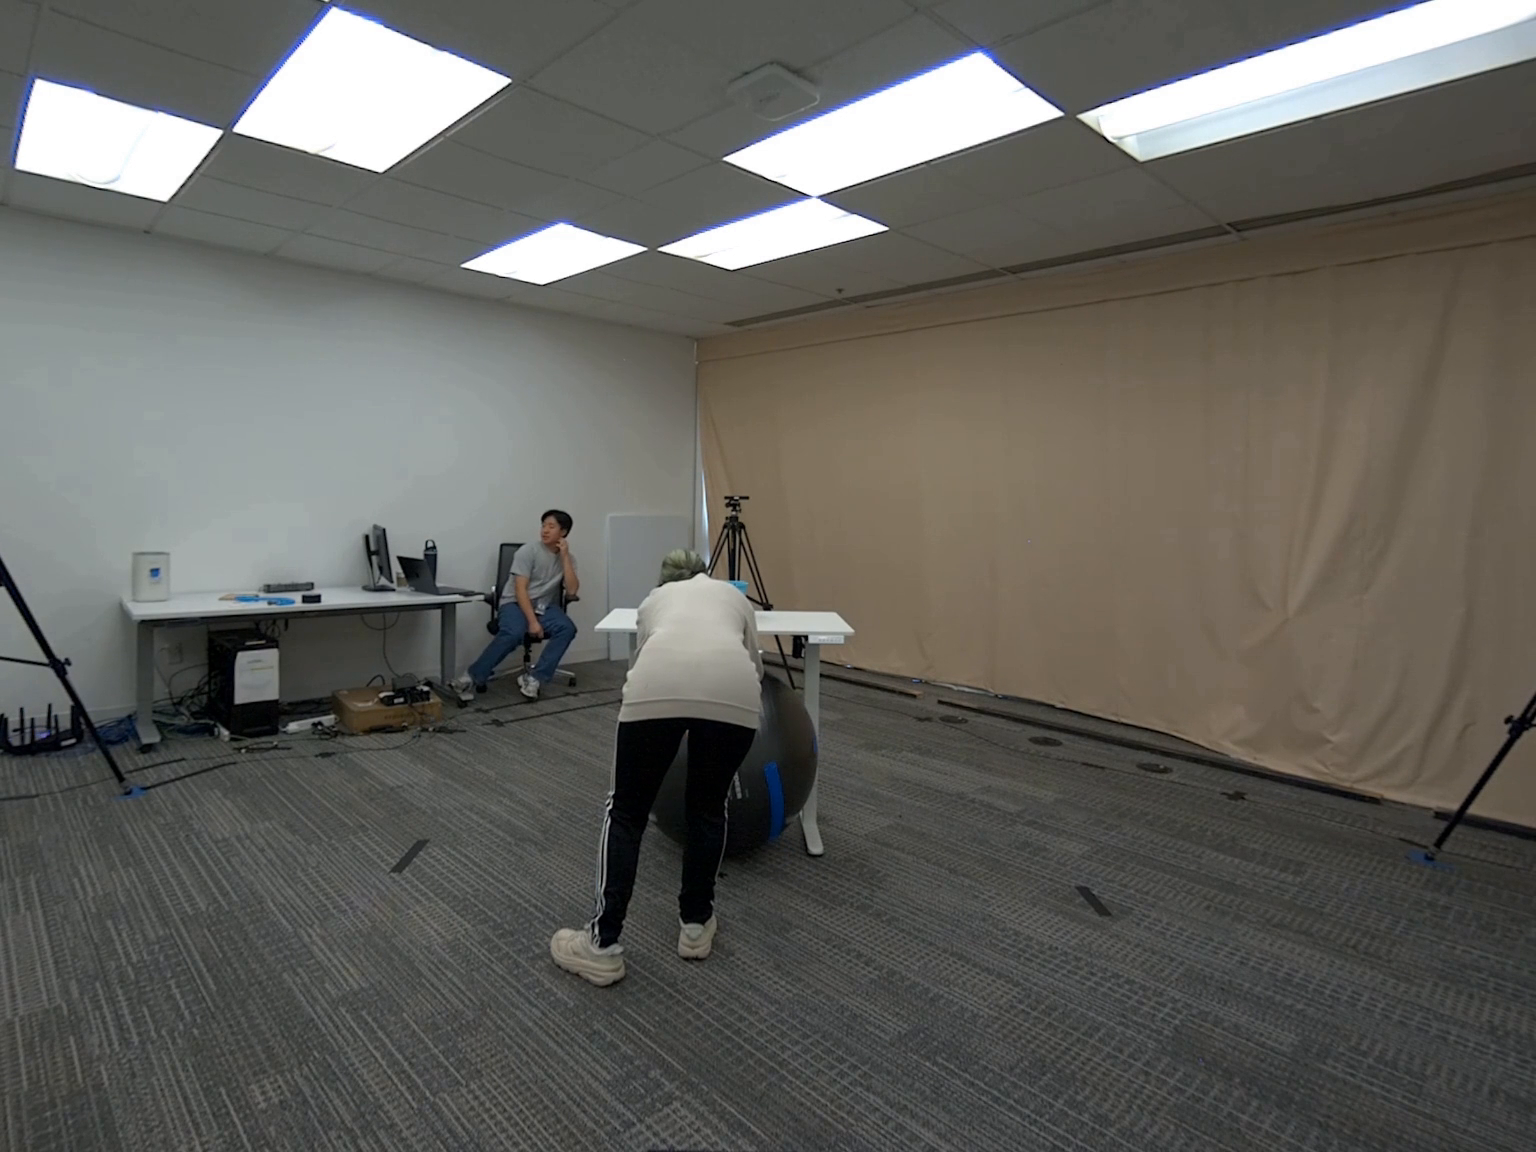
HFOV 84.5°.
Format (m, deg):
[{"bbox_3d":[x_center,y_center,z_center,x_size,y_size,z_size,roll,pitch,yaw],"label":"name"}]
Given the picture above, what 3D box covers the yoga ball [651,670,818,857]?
[{"bbox_3d":[-0.186,0.711,3.357,0.757,0.756,0.761,1,4,-1],"label":"yoga ball"}]
